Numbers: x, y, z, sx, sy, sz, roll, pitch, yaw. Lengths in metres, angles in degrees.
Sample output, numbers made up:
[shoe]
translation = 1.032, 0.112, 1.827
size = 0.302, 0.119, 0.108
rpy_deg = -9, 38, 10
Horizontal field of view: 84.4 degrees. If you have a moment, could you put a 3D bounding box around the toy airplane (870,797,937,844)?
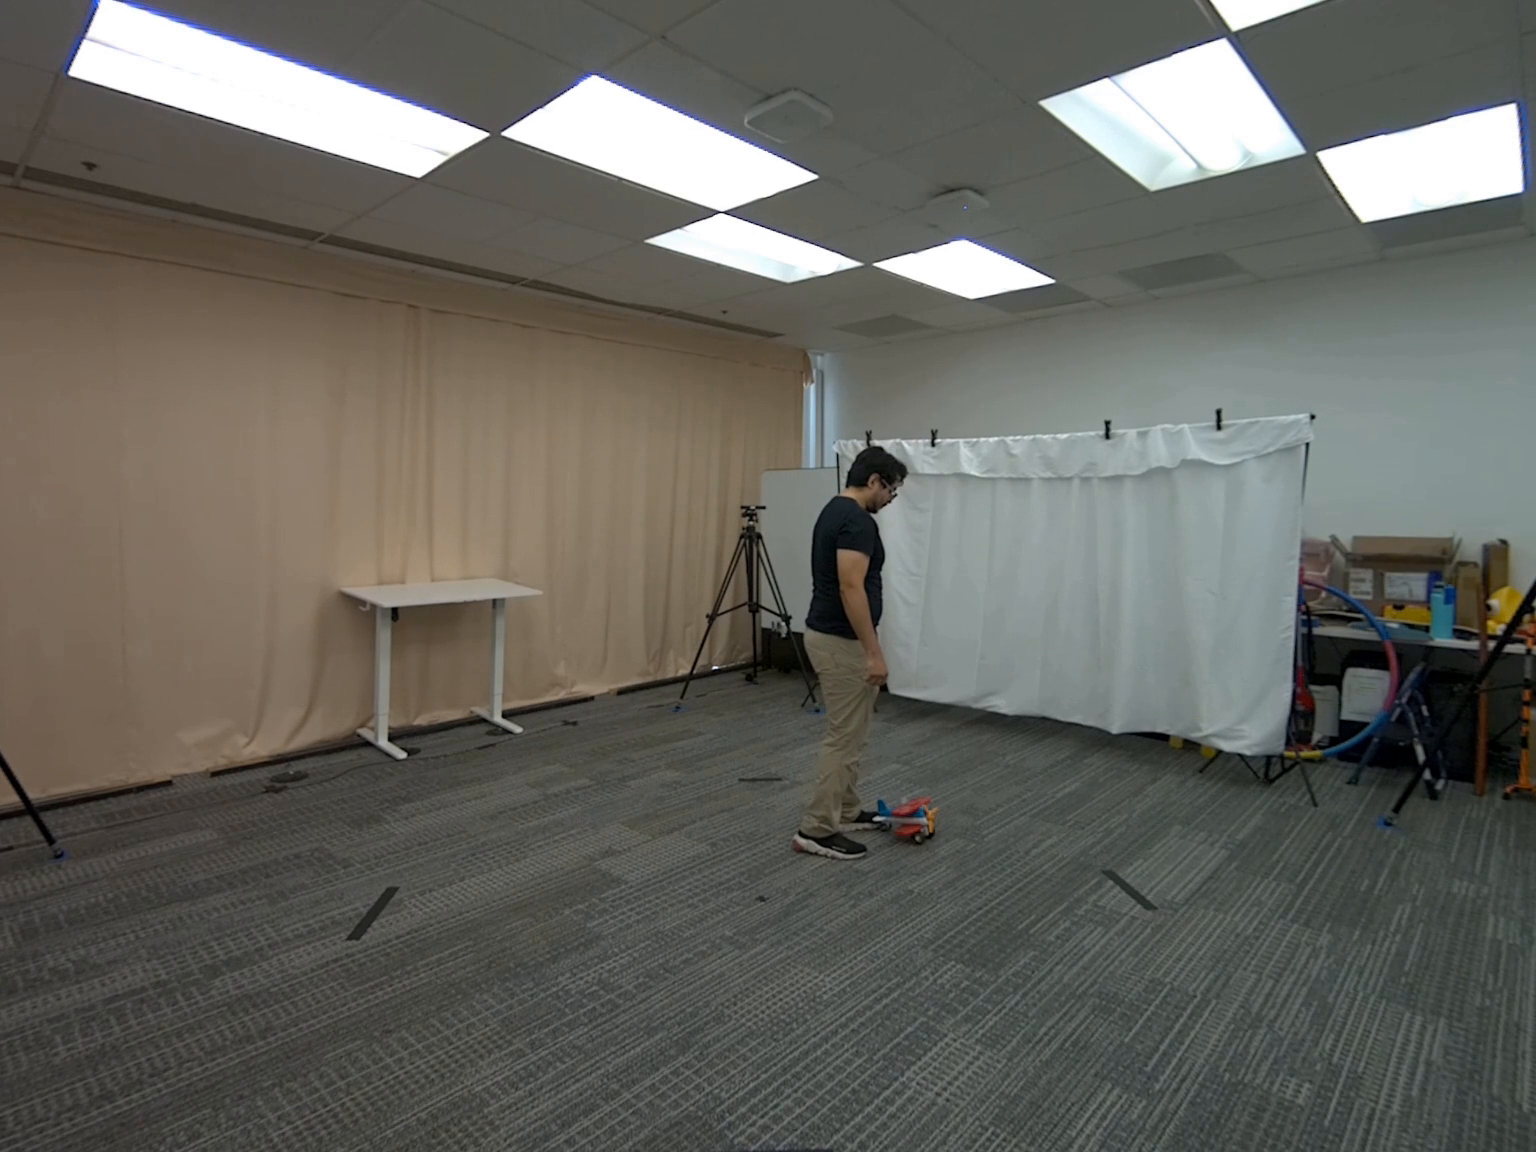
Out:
[toy airplane]
translation = 0.571, 1.022, 3.523
size = 0.263, 0.156, 0.248
rpy_deg = 2, 4, 11
